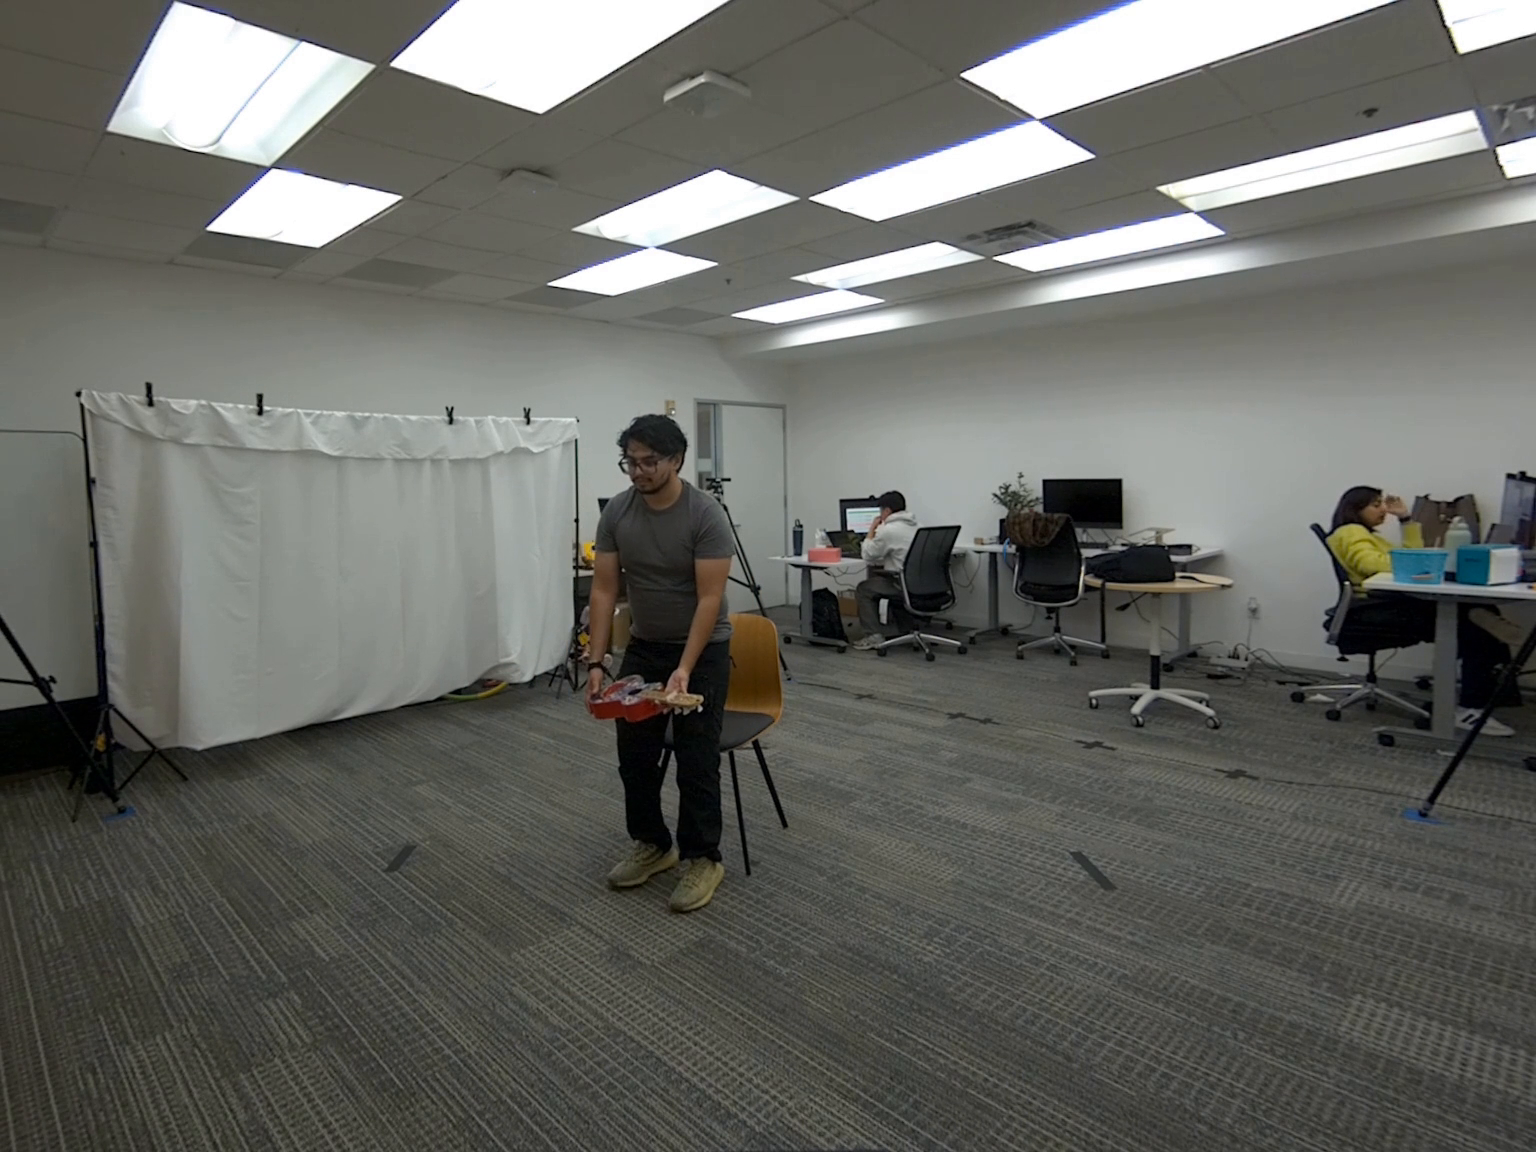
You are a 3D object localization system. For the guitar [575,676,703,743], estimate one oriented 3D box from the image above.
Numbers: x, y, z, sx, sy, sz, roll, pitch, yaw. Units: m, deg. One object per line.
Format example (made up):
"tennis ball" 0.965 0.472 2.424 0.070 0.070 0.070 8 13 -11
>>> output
"guitar" -0.393 0.402 2.600 0.190 0.070 0.511 -25 15 -31
